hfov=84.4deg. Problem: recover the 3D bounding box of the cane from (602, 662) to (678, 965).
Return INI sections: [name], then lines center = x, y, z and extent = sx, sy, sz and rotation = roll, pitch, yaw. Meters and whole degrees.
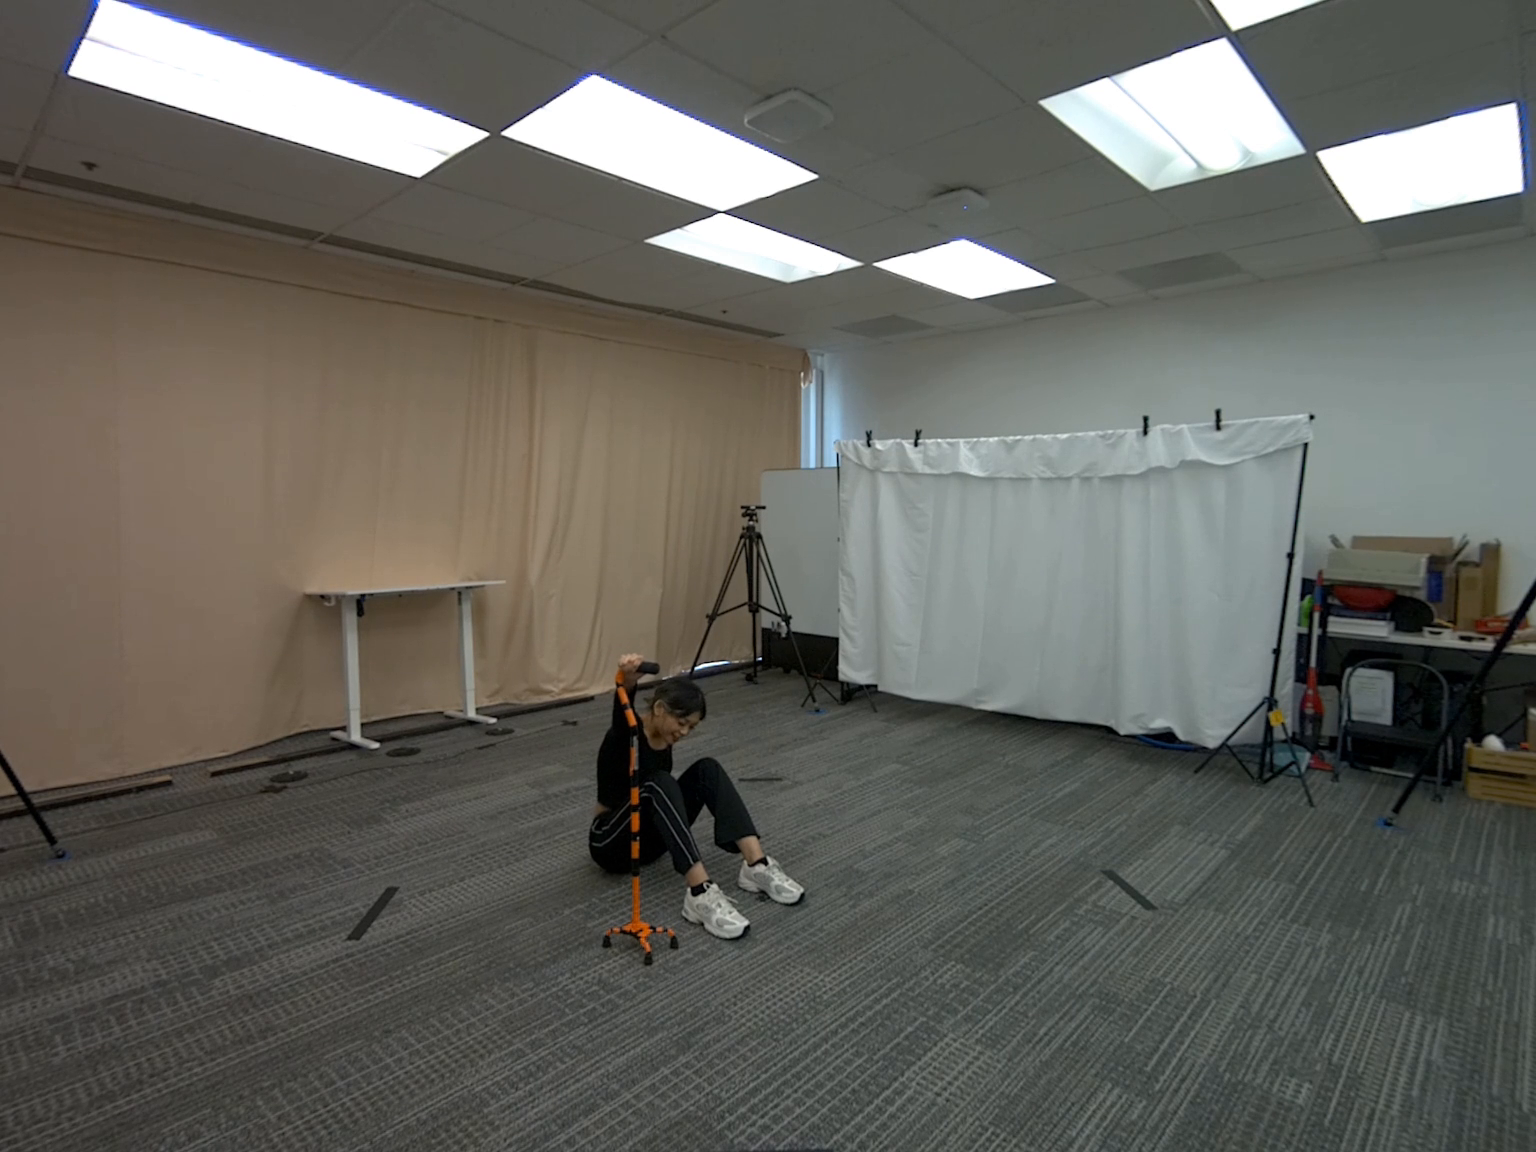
[cane]
center = -0.409, 0.711, 2.650
extent = 0.213, 0.906, 0.147
rotation = 1, 3, 36
